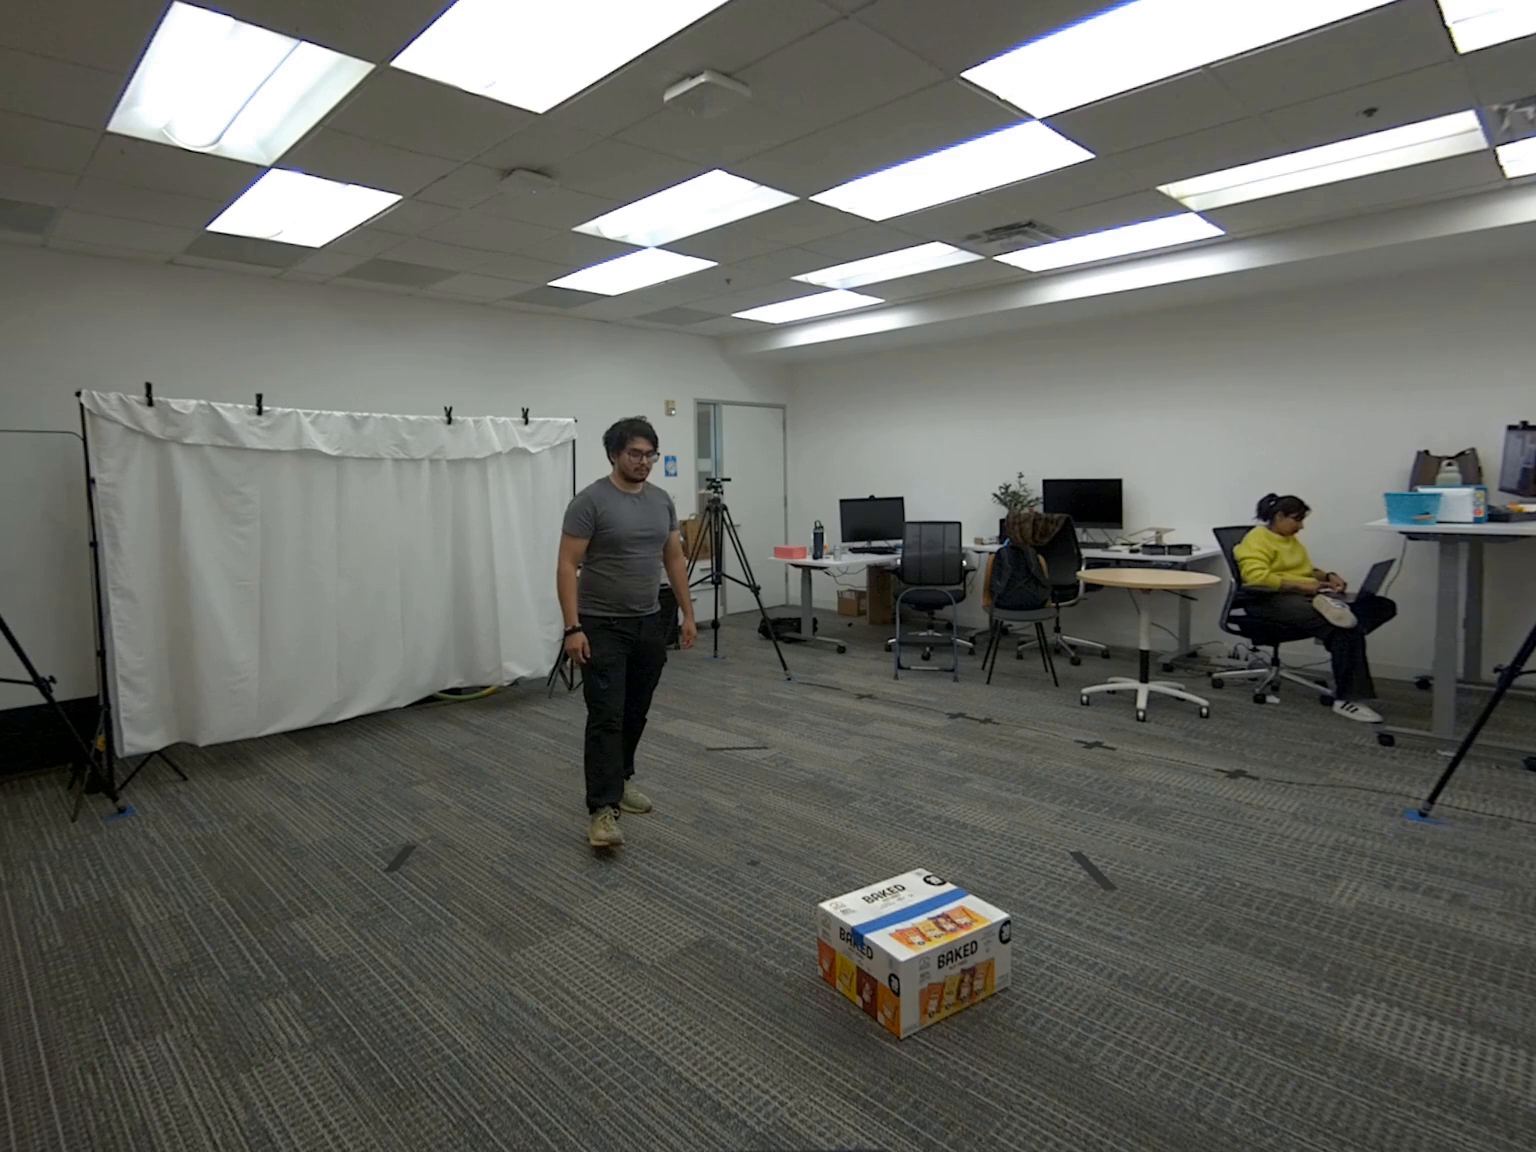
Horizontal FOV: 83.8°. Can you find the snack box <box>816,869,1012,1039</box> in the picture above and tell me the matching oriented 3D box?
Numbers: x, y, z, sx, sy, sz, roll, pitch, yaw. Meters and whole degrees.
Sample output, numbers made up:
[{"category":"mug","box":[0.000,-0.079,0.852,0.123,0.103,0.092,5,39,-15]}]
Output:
[{"category":"snack box","box":[0.407,1.021,2.353,0.395,0.205,0.350,-6,8,-33]}]
